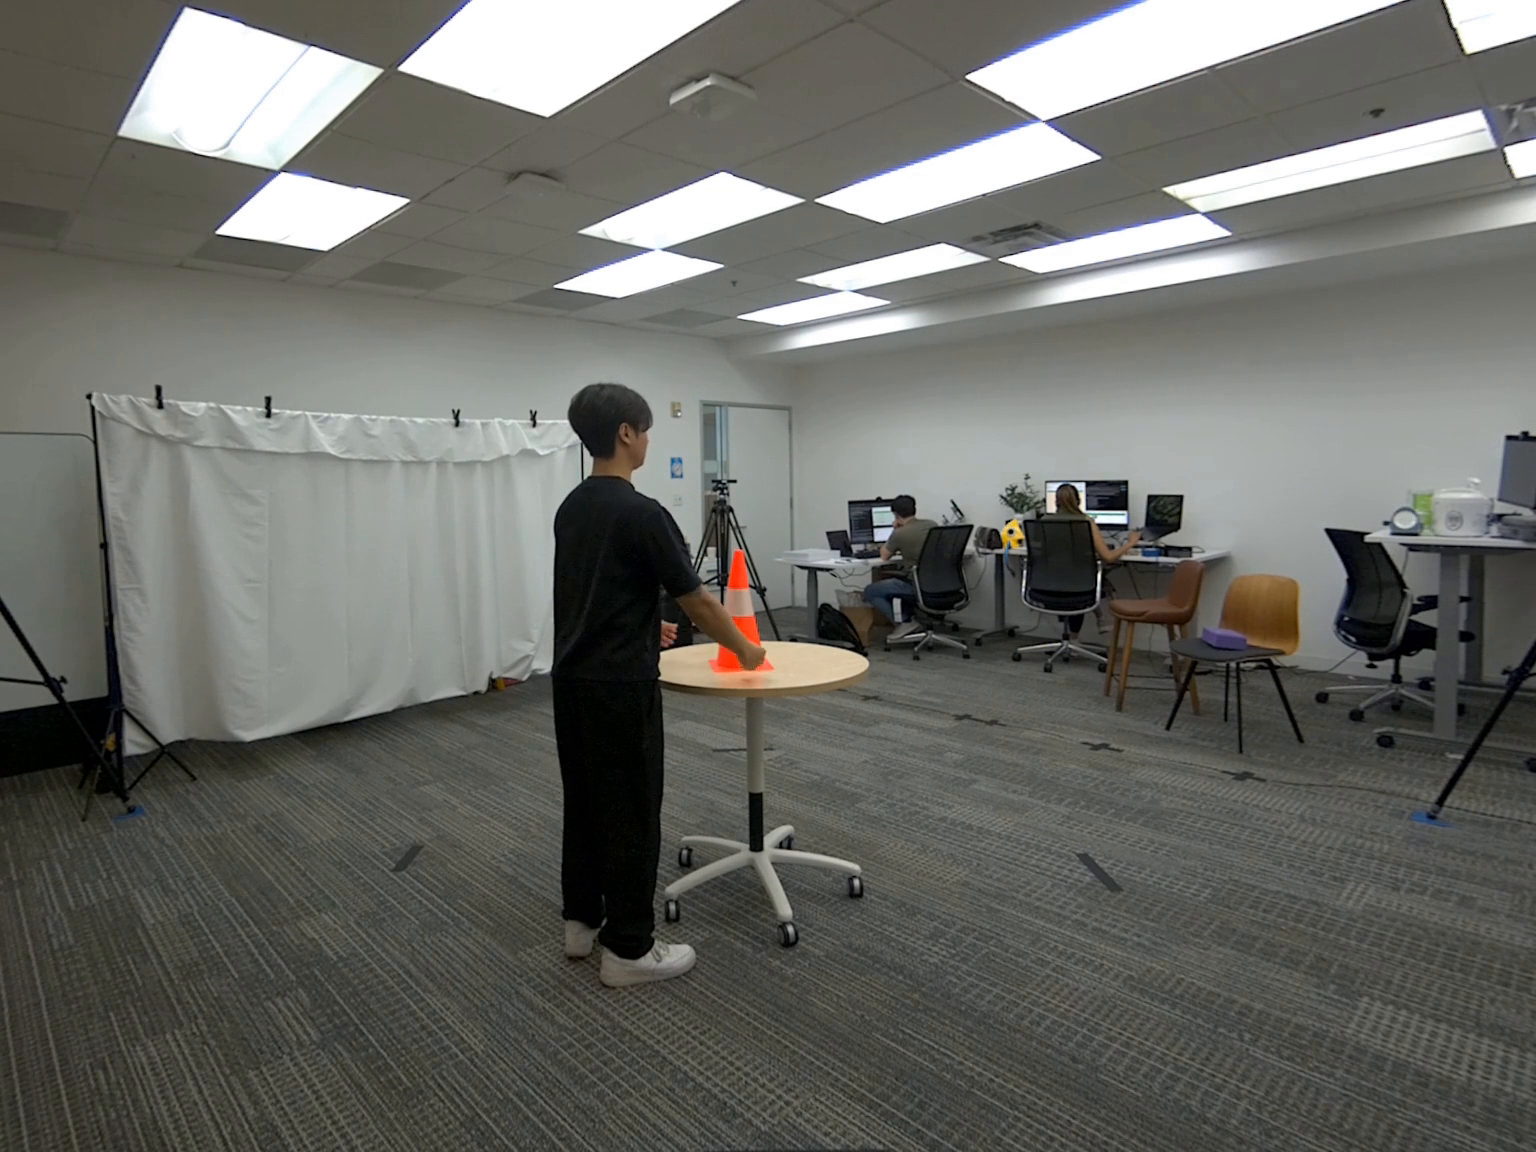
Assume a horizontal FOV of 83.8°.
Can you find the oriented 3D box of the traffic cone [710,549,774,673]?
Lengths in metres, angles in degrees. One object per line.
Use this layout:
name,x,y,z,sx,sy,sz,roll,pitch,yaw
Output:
traffic cone,-0.093,0.108,2.820,0.202,0.383,0.207,-1,2,-9
